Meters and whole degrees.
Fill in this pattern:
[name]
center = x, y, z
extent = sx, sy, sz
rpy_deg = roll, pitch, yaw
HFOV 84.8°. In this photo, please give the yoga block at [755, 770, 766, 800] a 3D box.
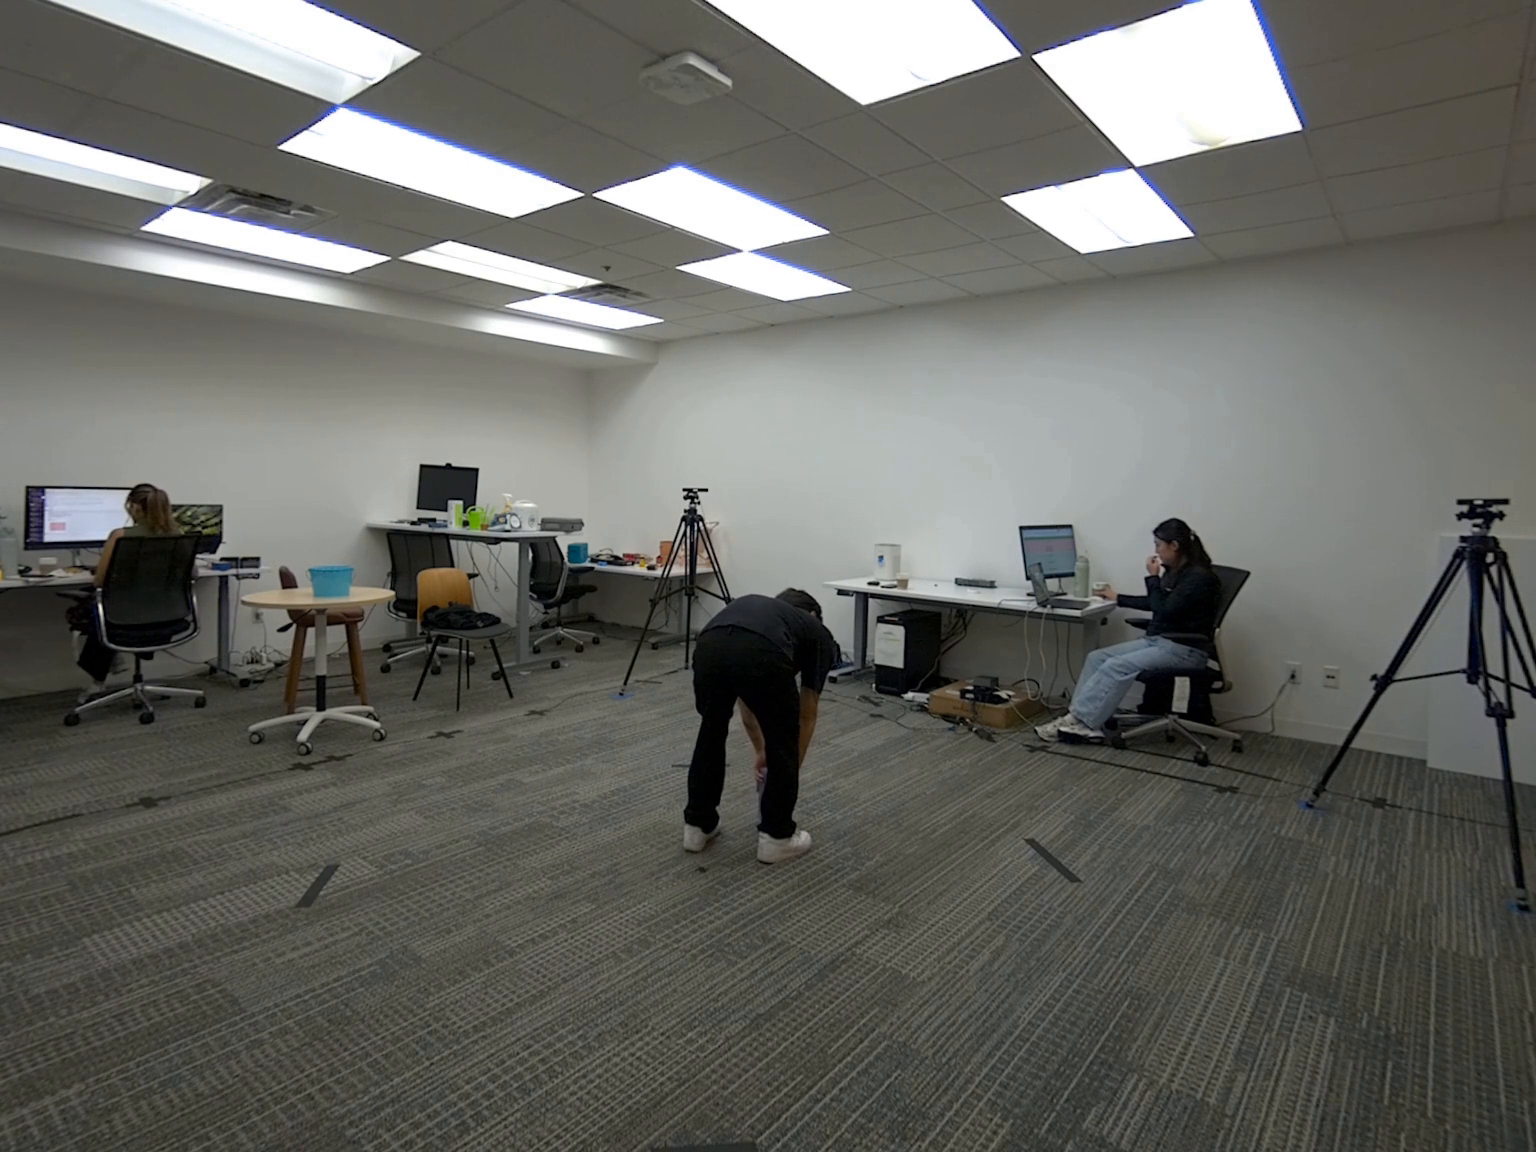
[yoga block]
center = 0.018, 0.903, 3.496
extent = 0.074, 0.229, 0.153
rpy_deg = 0, 3, -27
